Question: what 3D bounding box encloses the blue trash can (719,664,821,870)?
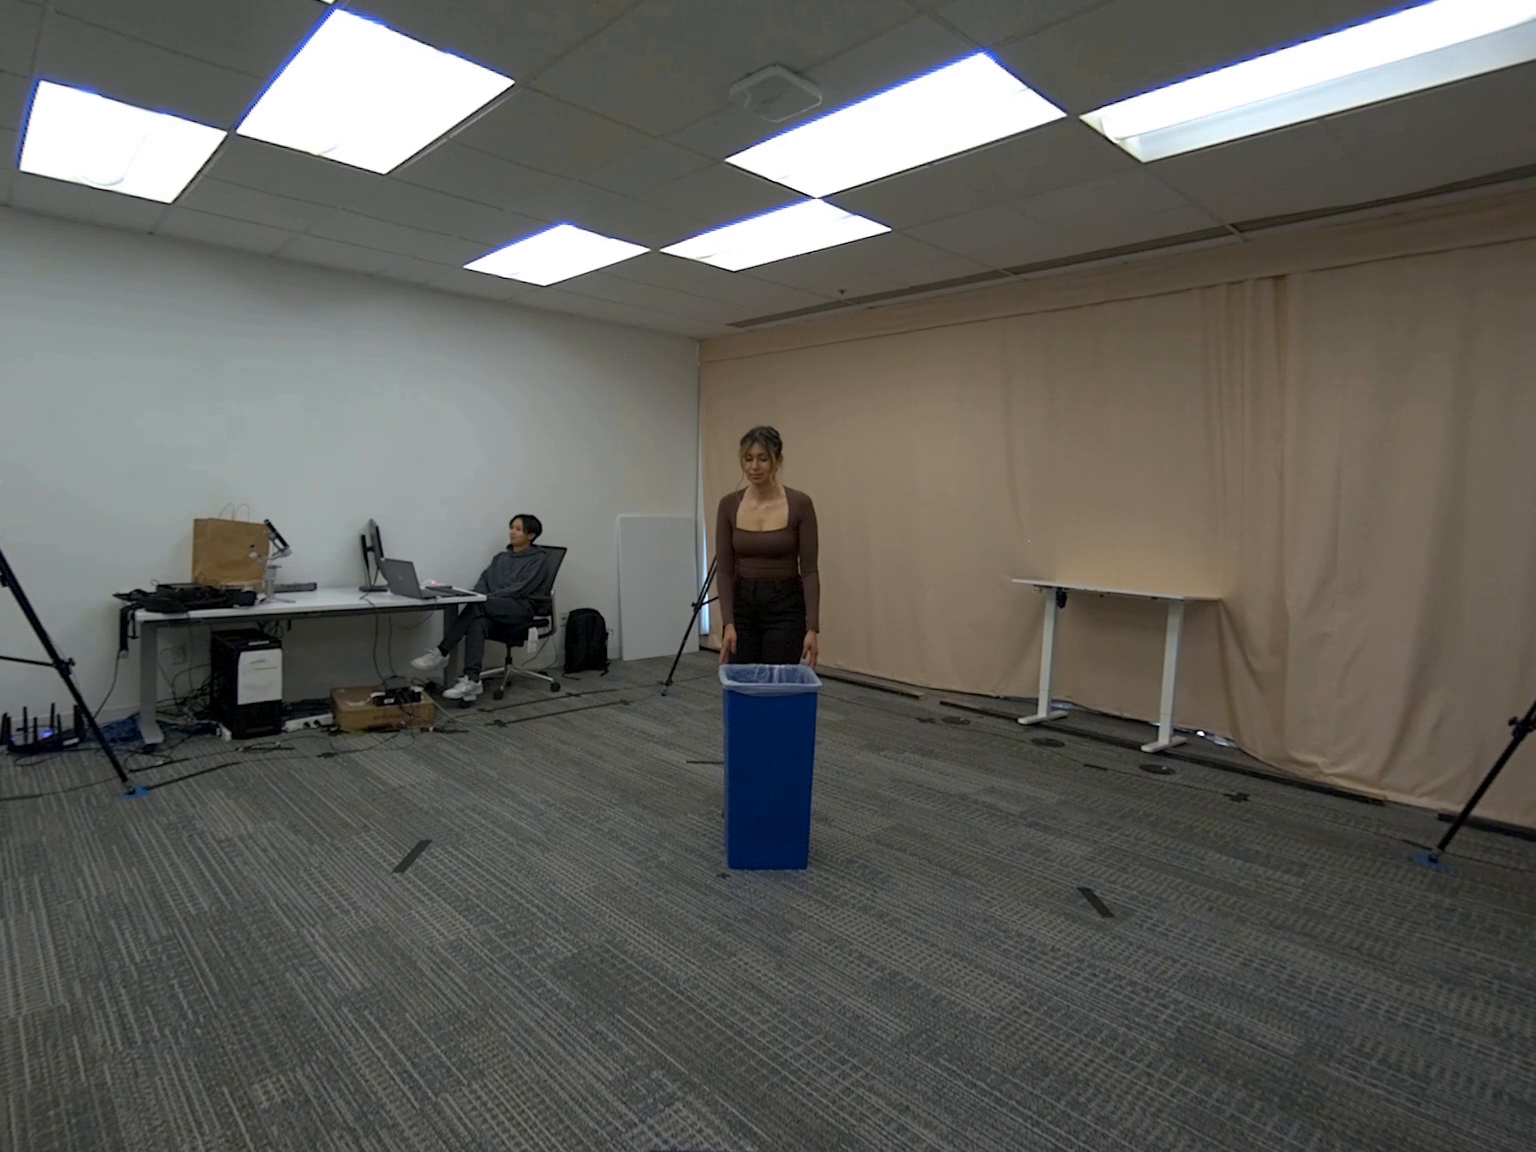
[{"bbox_3d":[-0.022,0.736,3.290,0.372,0.712,0.380,2,3,-5],"label":"blue trash can"}]
